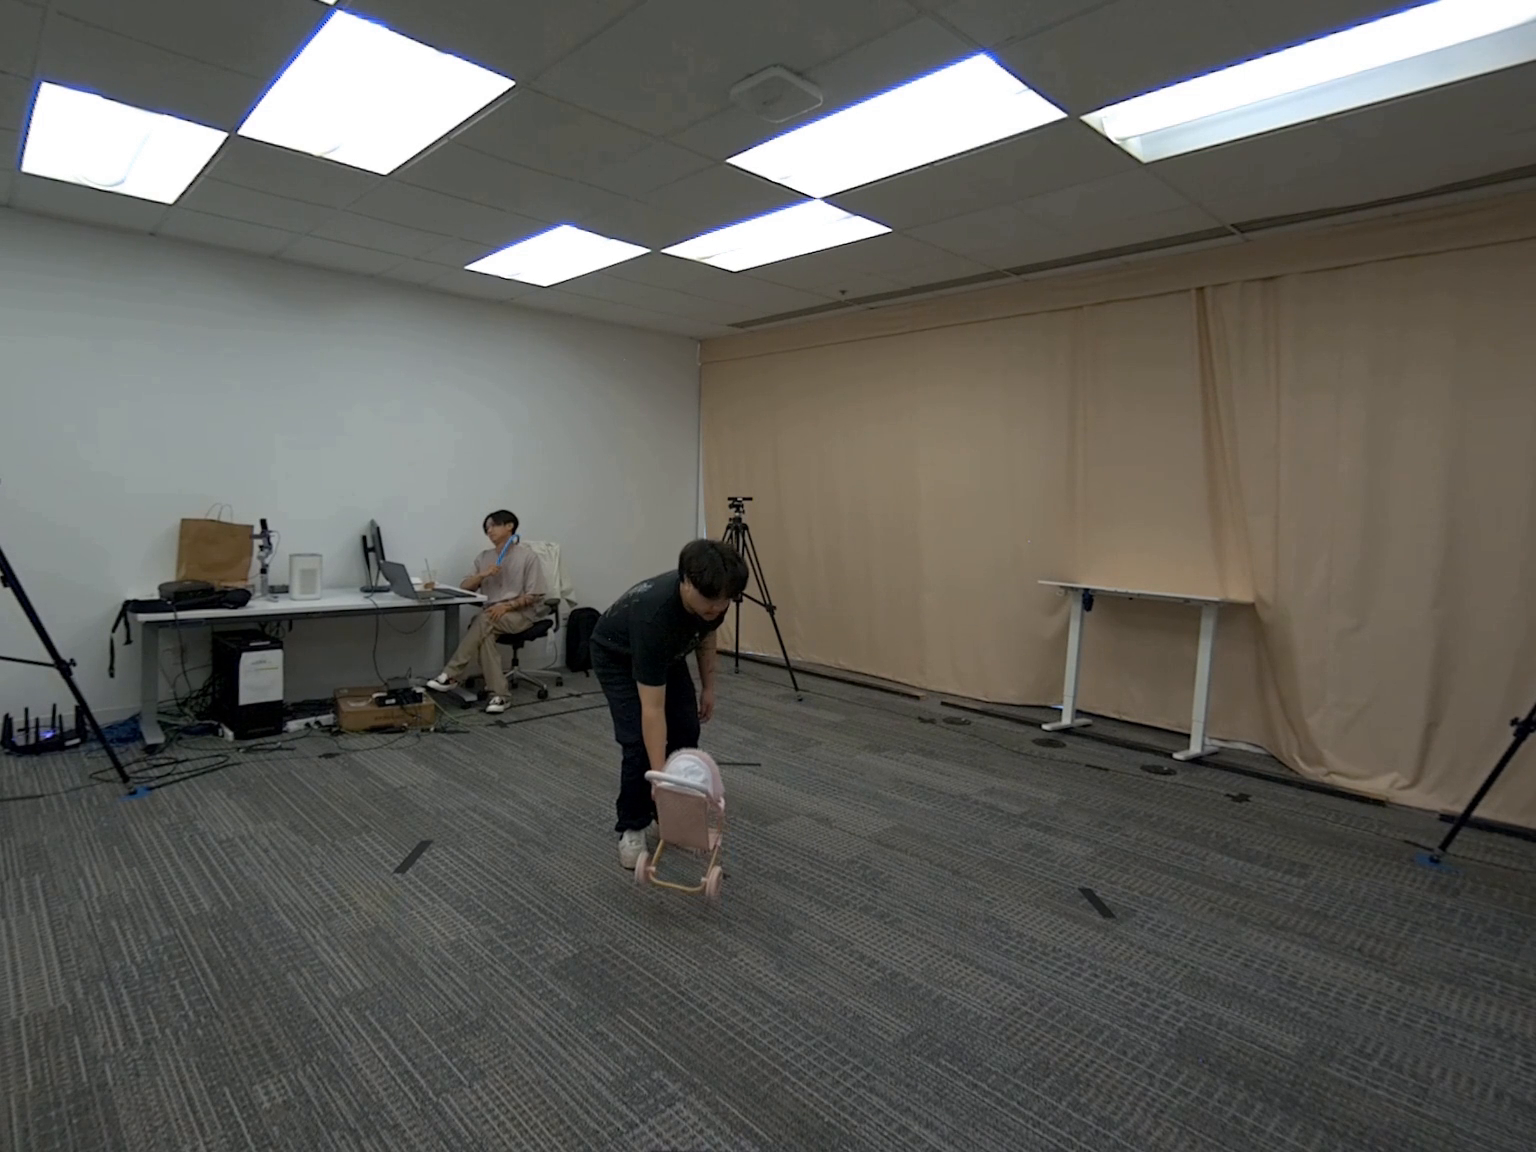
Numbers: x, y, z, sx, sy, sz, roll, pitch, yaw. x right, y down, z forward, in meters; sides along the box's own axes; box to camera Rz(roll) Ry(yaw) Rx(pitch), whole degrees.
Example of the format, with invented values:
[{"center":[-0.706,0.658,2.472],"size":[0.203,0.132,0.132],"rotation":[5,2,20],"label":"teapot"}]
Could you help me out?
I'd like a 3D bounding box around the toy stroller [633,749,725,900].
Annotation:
[{"center":[-0.267,0.811,2.827],"size":[0.285,0.528,0.341],"rotation":[7,20,15],"label":"toy stroller"}]
